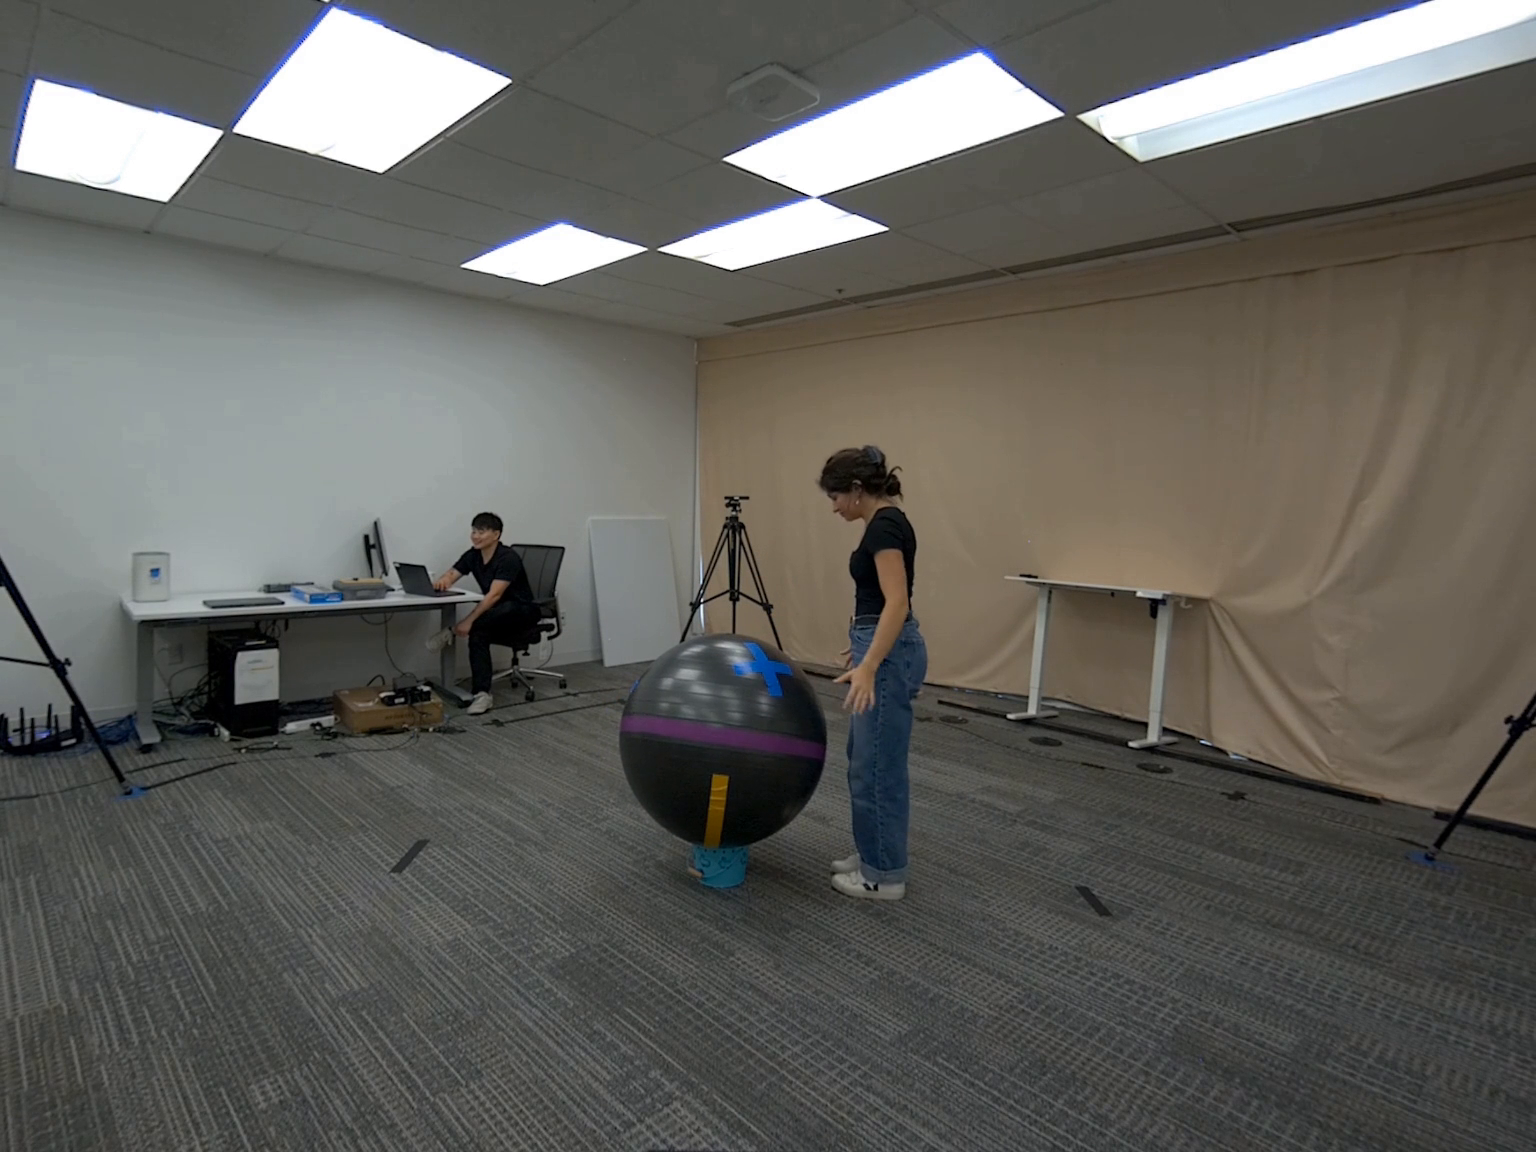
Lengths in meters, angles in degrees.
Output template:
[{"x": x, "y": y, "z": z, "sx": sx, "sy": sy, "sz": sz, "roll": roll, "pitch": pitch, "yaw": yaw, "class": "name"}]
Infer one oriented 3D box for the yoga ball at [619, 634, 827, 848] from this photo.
[{"x": -0.168, "y": 0.597, "z": 3.089, "sx": 0.757, "sy": 0.756, "sz": 0.760, "roll": 1, "pitch": 4, "yaw": -1, "class": "yoga ball"}]
